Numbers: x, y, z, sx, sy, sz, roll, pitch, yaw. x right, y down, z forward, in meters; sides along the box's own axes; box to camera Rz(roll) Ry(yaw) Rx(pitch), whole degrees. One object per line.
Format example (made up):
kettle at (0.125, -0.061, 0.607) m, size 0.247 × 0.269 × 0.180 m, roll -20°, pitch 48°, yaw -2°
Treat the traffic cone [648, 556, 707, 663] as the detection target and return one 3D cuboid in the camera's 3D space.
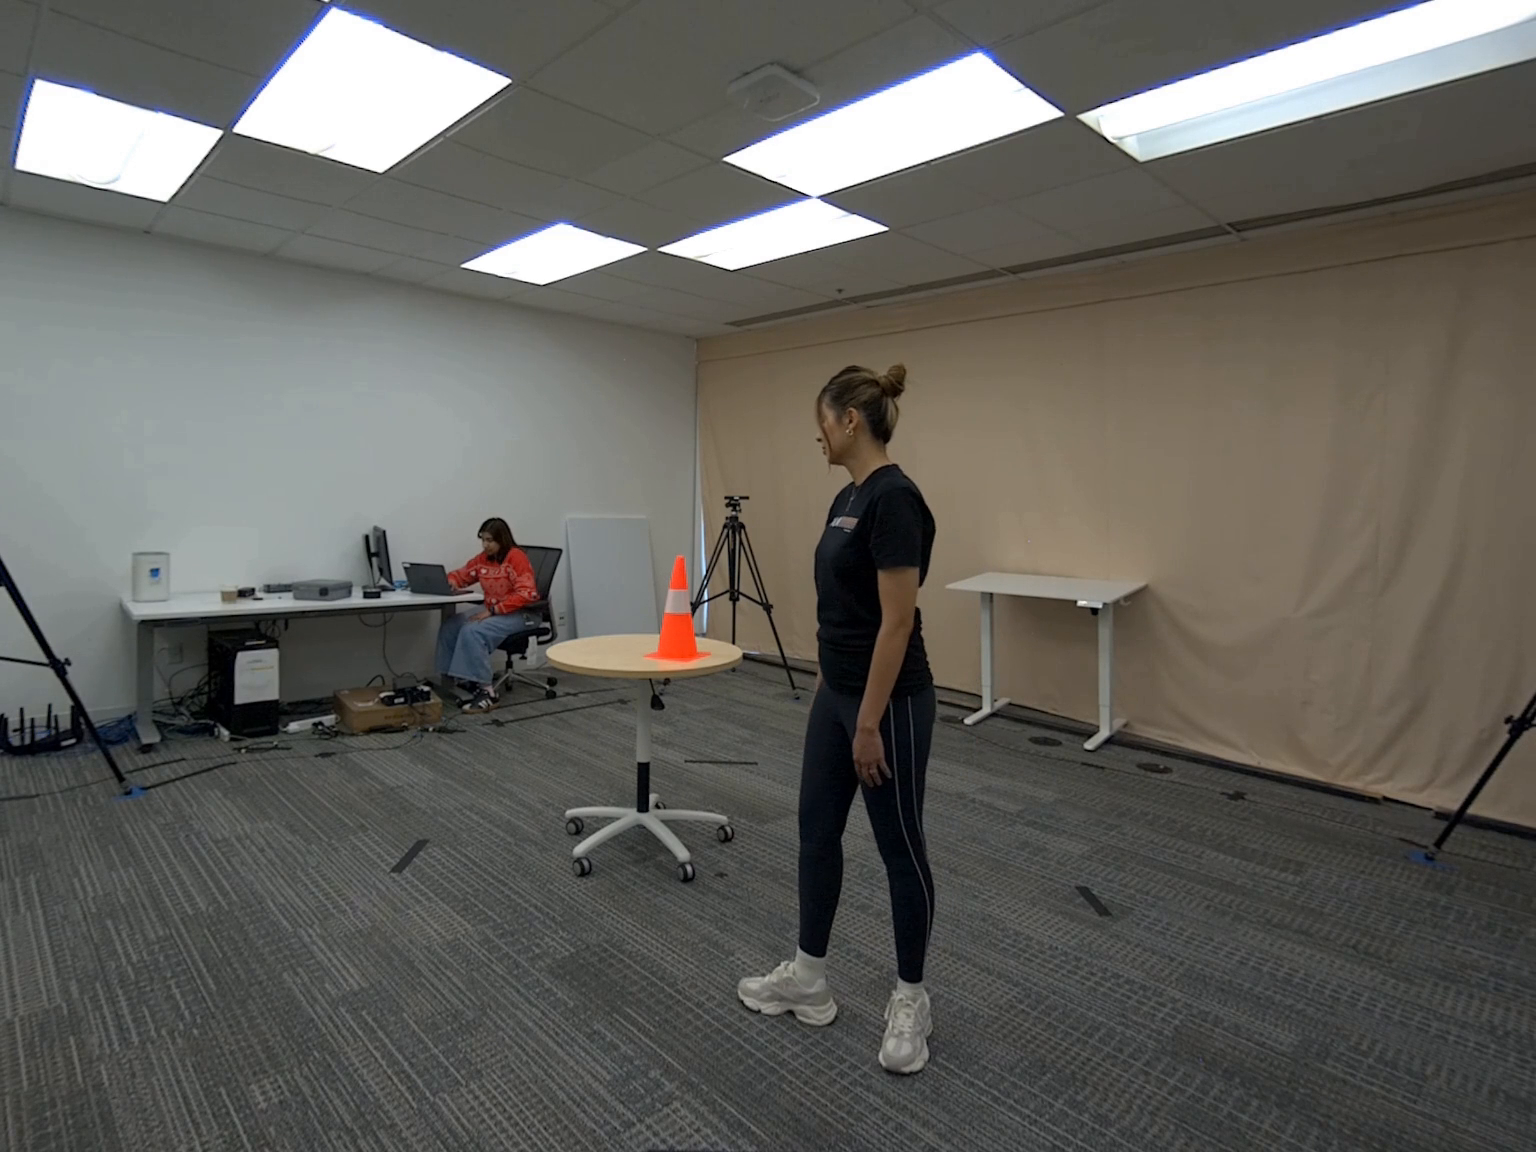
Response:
traffic cone at (-0.351, 0.120, 3.213) m, size 0.209 × 0.383 × 0.199 m, roll 3°, pitch 1°, yaw 26°
